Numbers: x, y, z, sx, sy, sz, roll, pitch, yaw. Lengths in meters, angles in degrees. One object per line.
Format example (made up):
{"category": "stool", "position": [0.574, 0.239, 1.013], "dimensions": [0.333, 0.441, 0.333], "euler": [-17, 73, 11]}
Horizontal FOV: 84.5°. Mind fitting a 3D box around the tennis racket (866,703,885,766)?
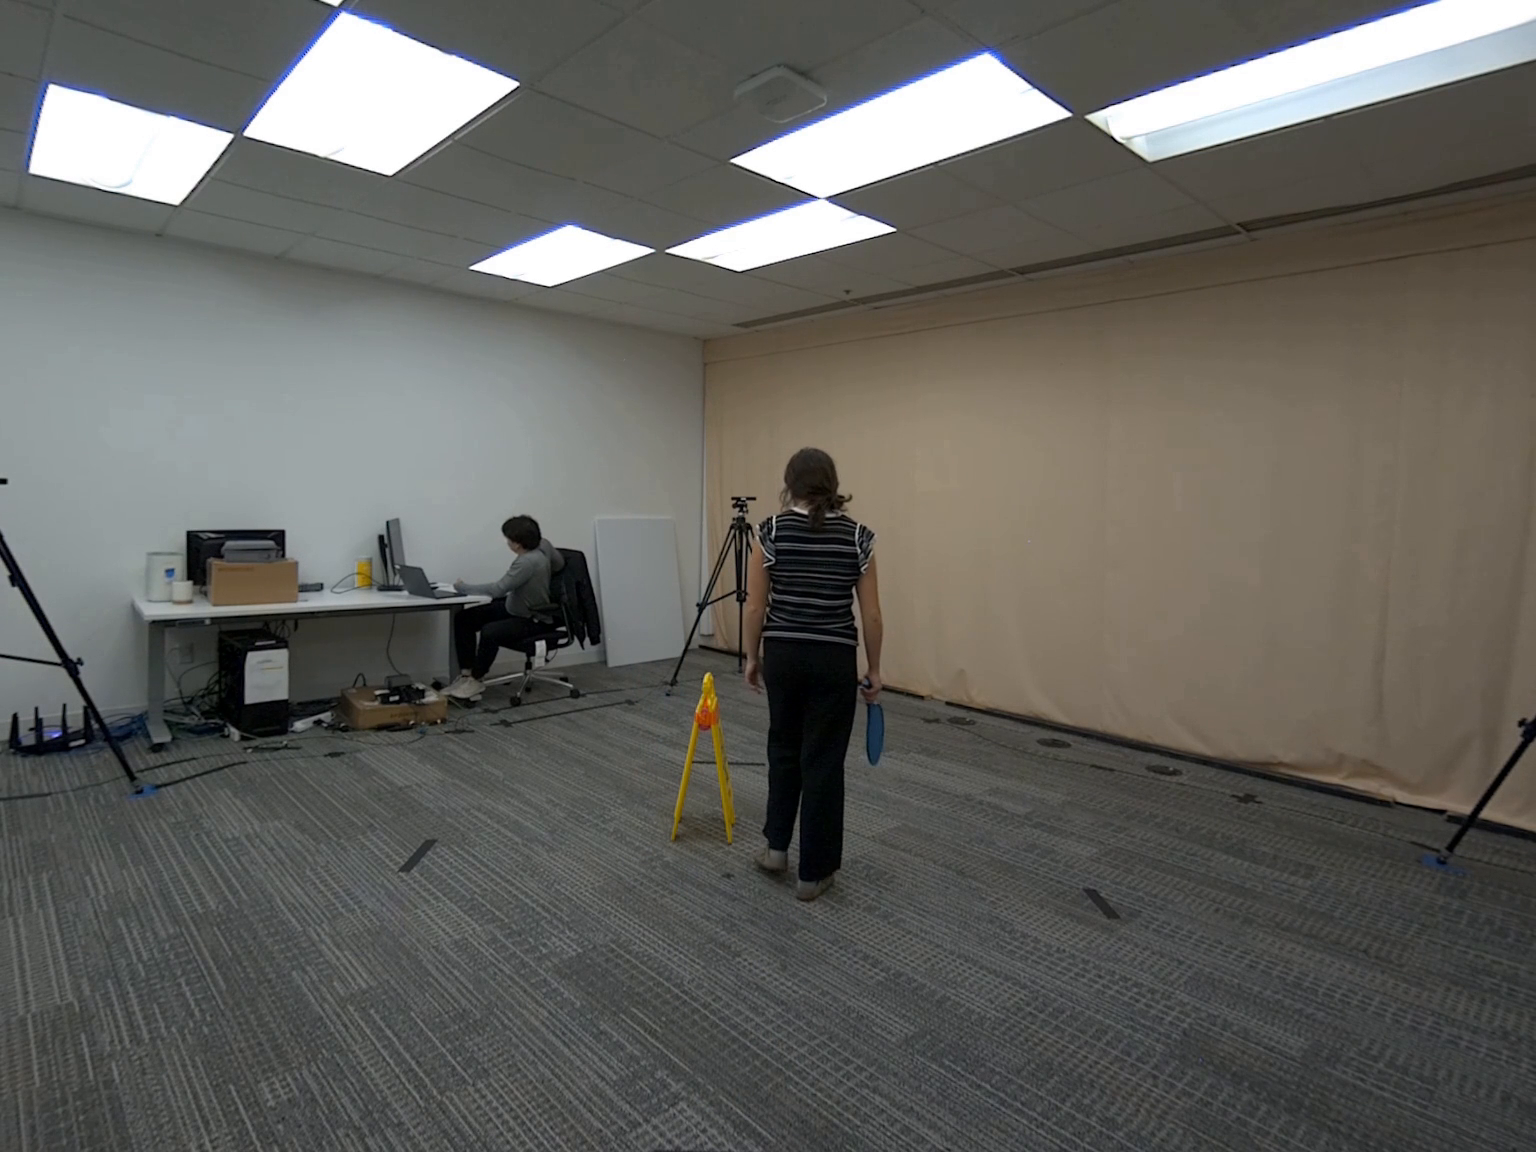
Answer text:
{"category": "tennis racket", "position": [0.379, 0.542, 3.183], "dimensions": [0.032, 0.422, 0.216], "euler": [4, 41, 18]}
